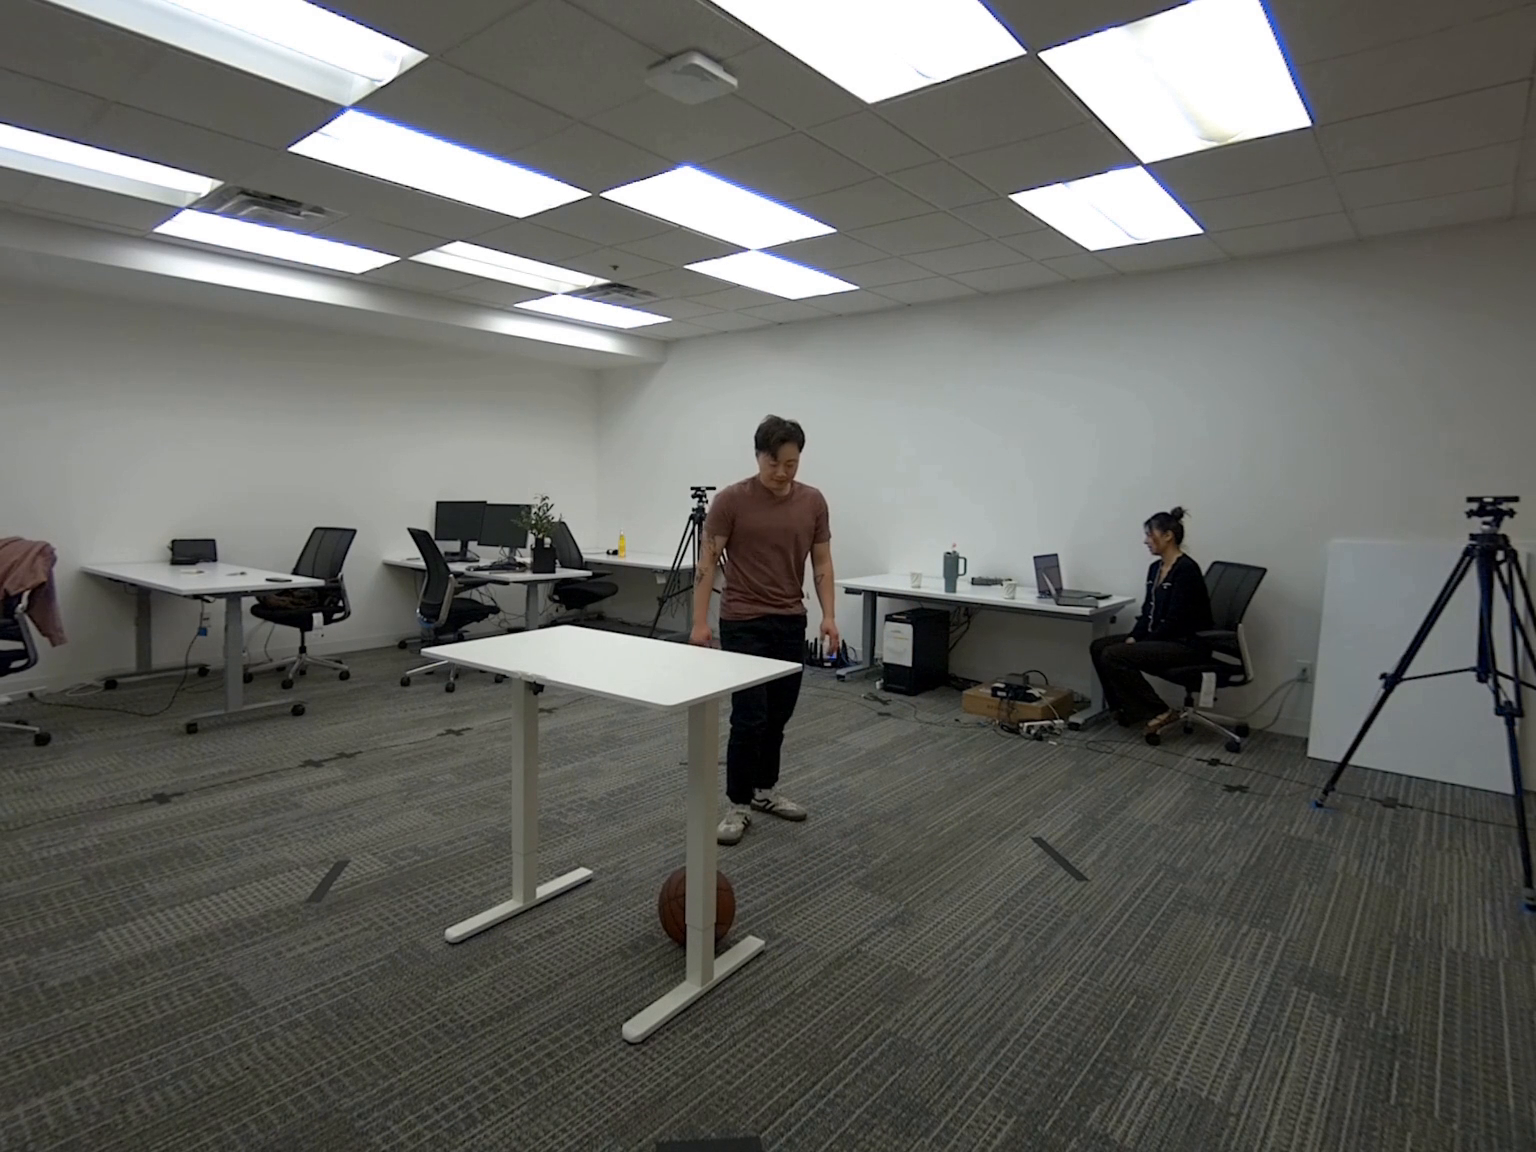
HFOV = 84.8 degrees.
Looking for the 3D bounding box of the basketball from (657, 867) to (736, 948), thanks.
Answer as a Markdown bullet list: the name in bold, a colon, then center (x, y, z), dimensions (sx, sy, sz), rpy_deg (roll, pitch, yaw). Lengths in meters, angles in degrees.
- **basketball**: center (-0.220, 1.002, 2.588), dimensions (0.235, 0.235, 0.237), rpy_deg (1, 4, -2)
